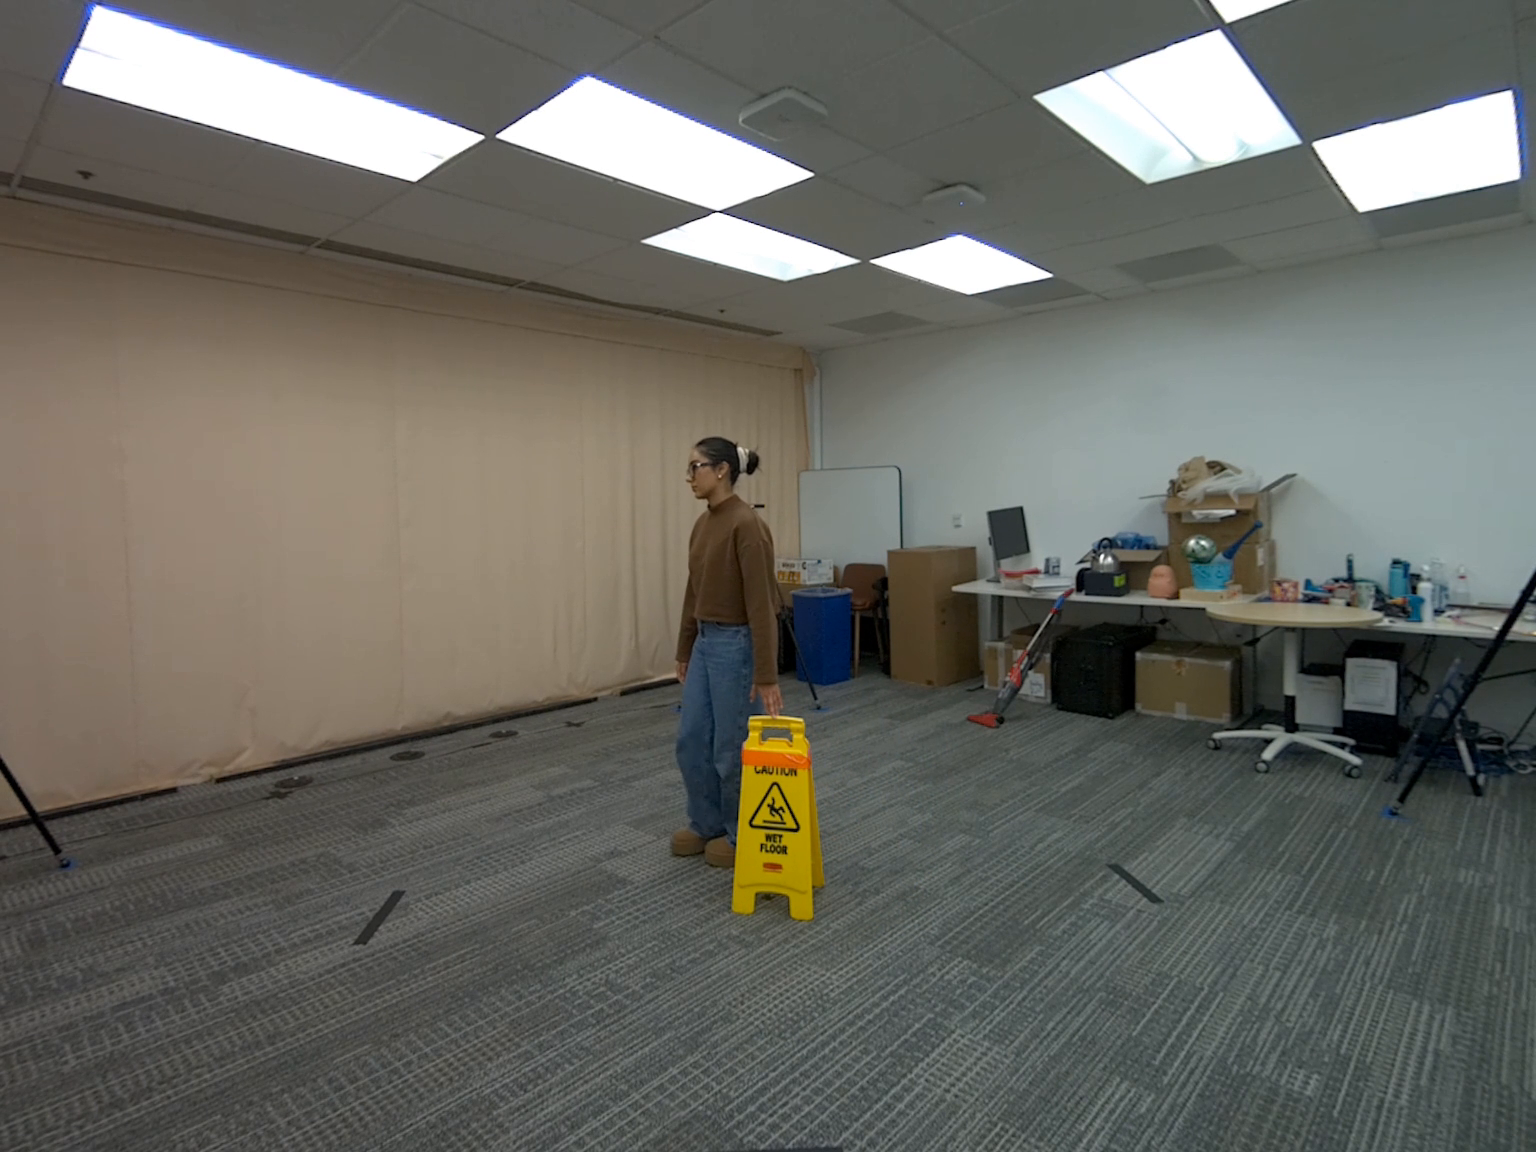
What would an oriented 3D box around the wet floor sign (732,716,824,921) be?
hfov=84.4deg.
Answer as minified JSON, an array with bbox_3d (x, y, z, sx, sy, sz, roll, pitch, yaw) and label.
[{"bbox_3d":[0.042,0.815,2.962,0.287,0.645,0.286,1,3,13],"label":"wet floor sign"}]
